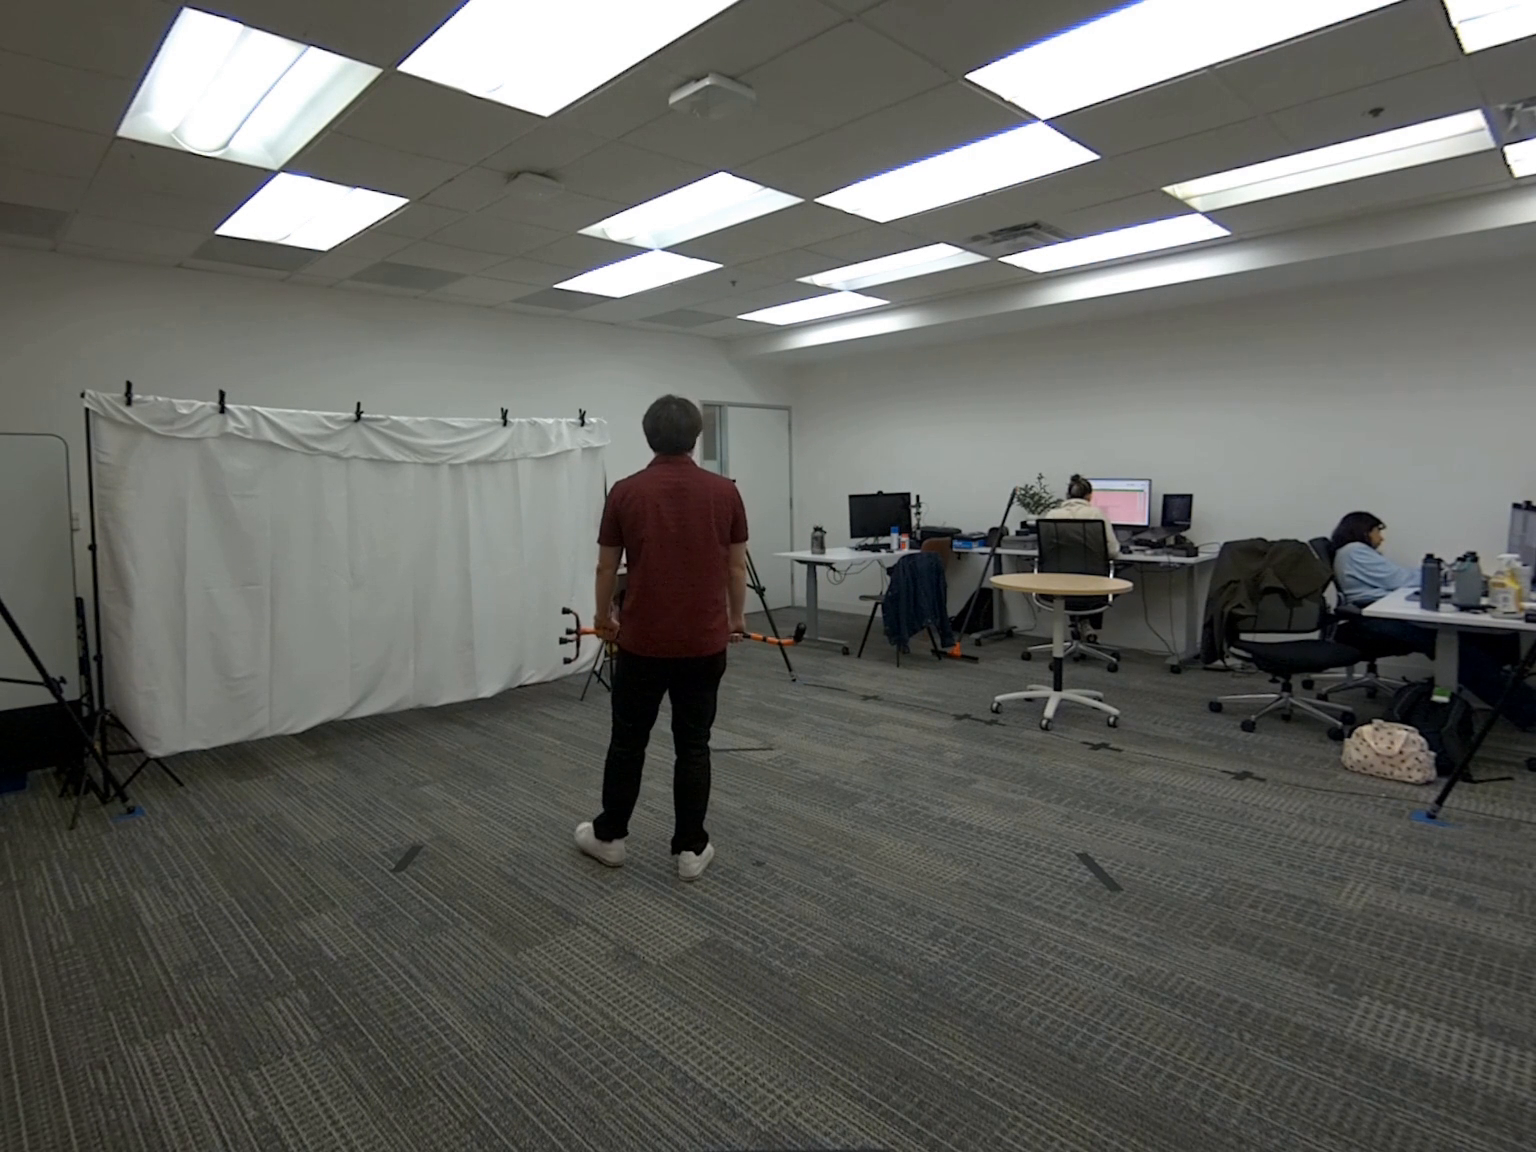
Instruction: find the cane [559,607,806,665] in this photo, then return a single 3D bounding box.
[{"bbox_3d":[-0.327,0.241,3.253,0.905,0.155,0.202,2,-35,-3],"label":"cane"}]
